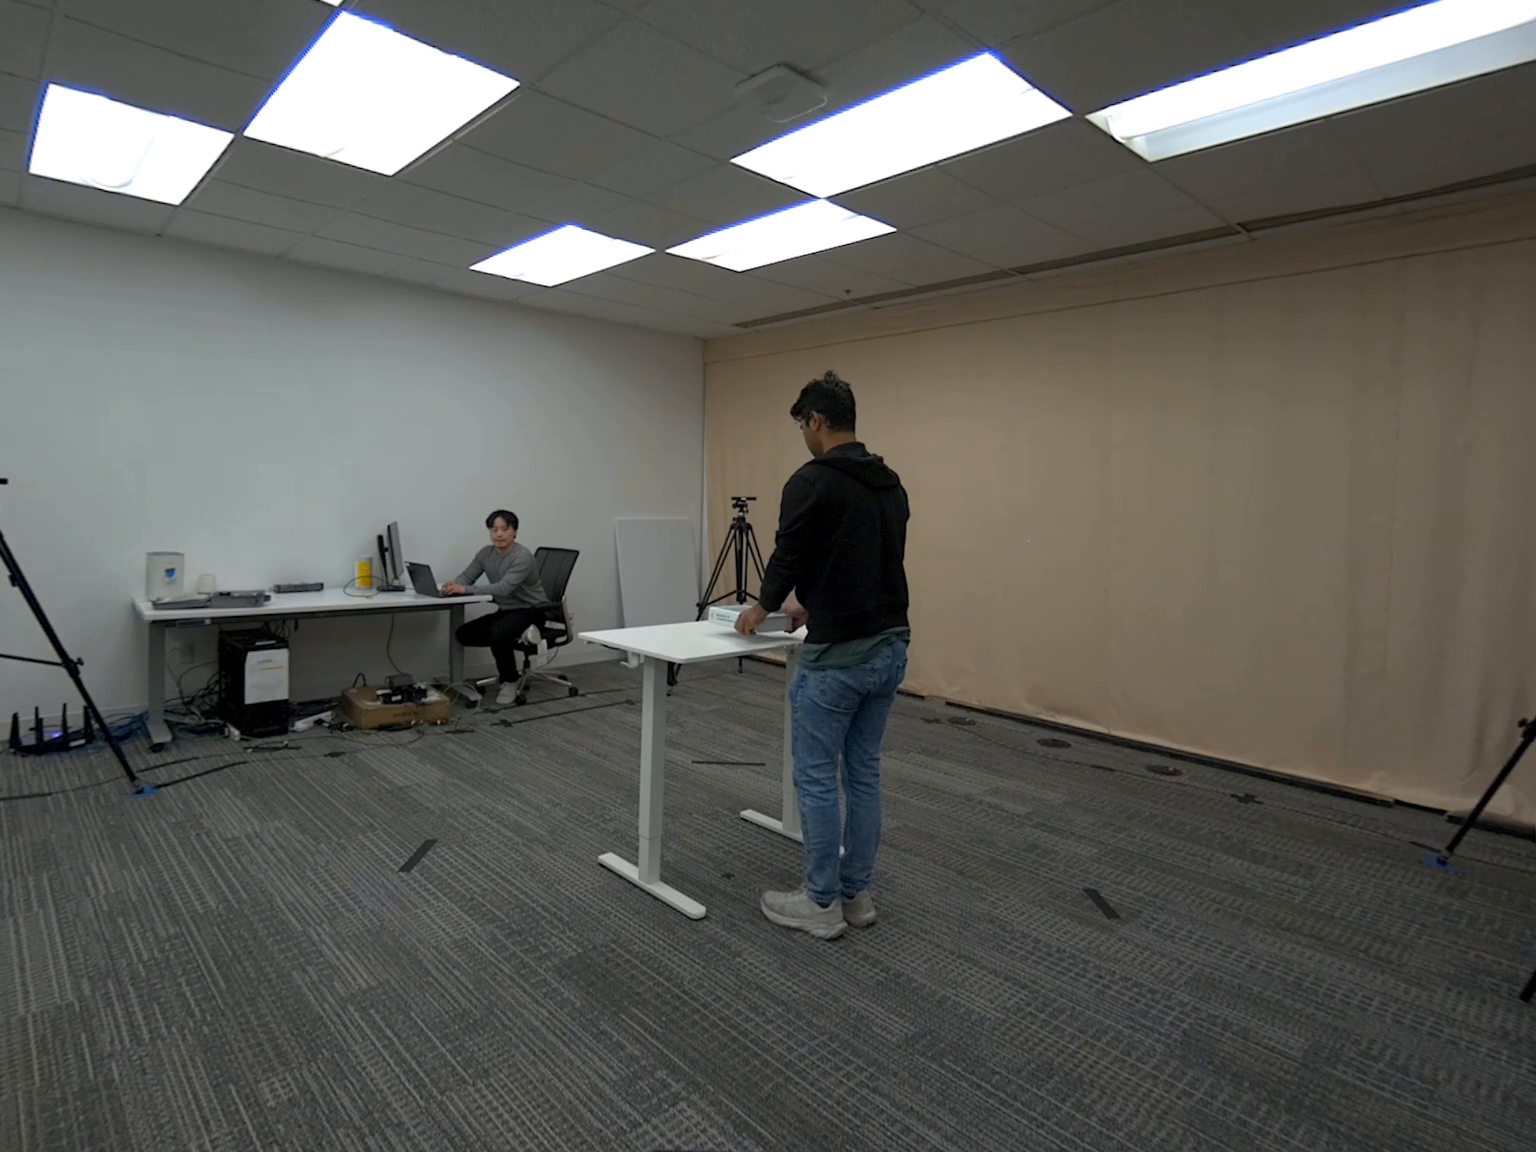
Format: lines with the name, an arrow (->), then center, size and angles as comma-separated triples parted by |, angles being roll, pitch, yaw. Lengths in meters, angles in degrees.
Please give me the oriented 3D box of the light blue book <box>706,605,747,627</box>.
light blue book -> -0.058, 0.164, 3.112 | 0.268, 0.059, 0.187 | 8, 6, 44
